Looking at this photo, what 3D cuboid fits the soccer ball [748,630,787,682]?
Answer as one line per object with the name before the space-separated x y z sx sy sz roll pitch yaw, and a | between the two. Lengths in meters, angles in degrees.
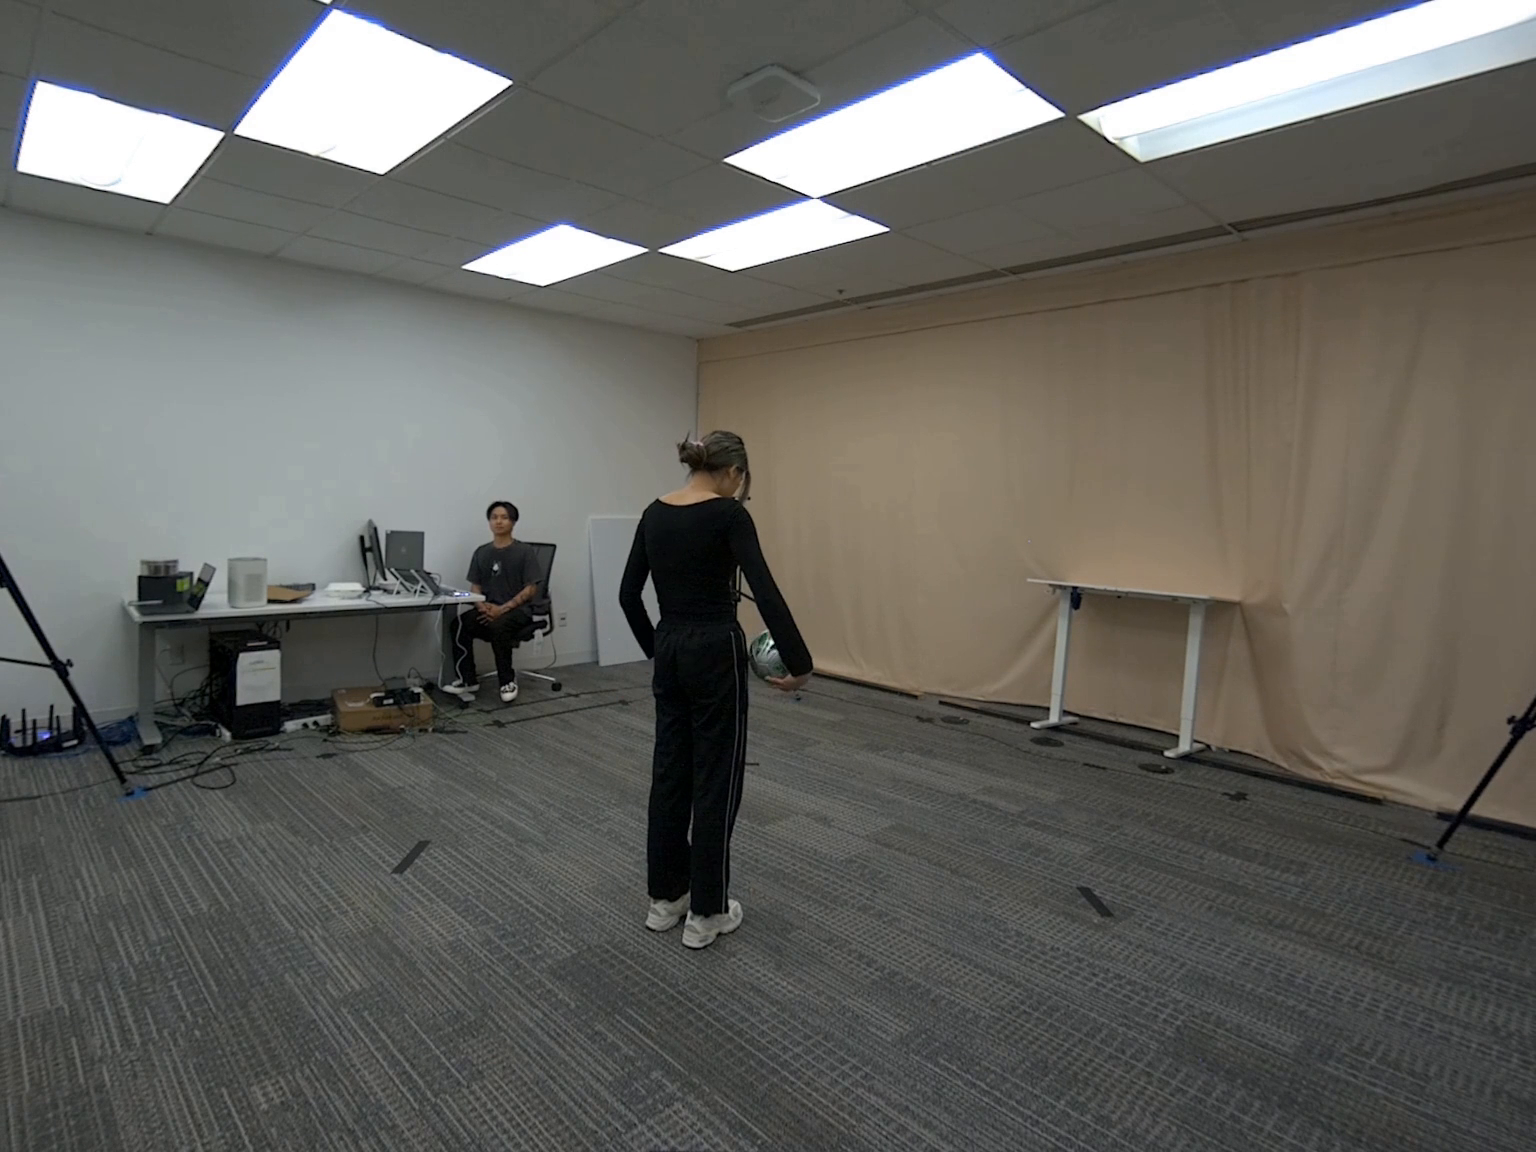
soccer ball | 0.021 0.250 2.608 0.187 0.187 0.188 1 4 -1
